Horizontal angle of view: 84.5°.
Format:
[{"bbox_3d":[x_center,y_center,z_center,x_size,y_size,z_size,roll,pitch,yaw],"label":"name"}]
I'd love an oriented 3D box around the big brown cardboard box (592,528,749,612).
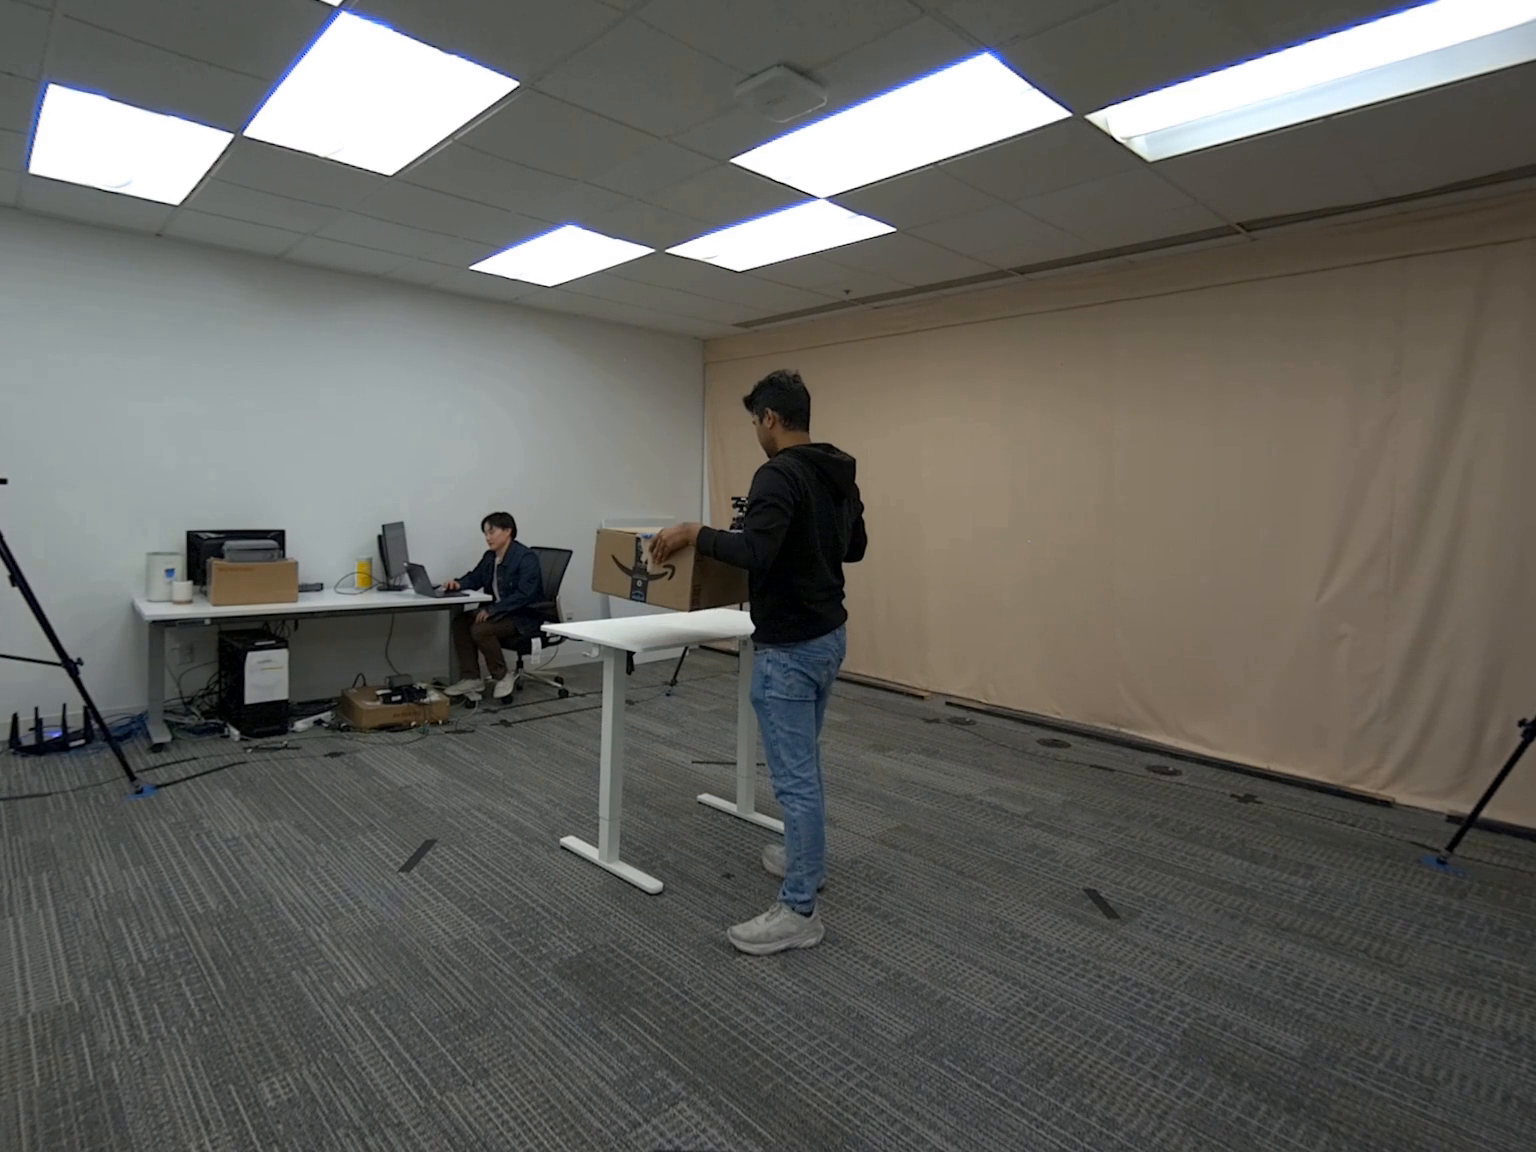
[{"bbox_3d":[-0.266,-0.036,2.957,0.427,0.232,0.578,9,9,31],"label":"big brown cardboard box"}]
